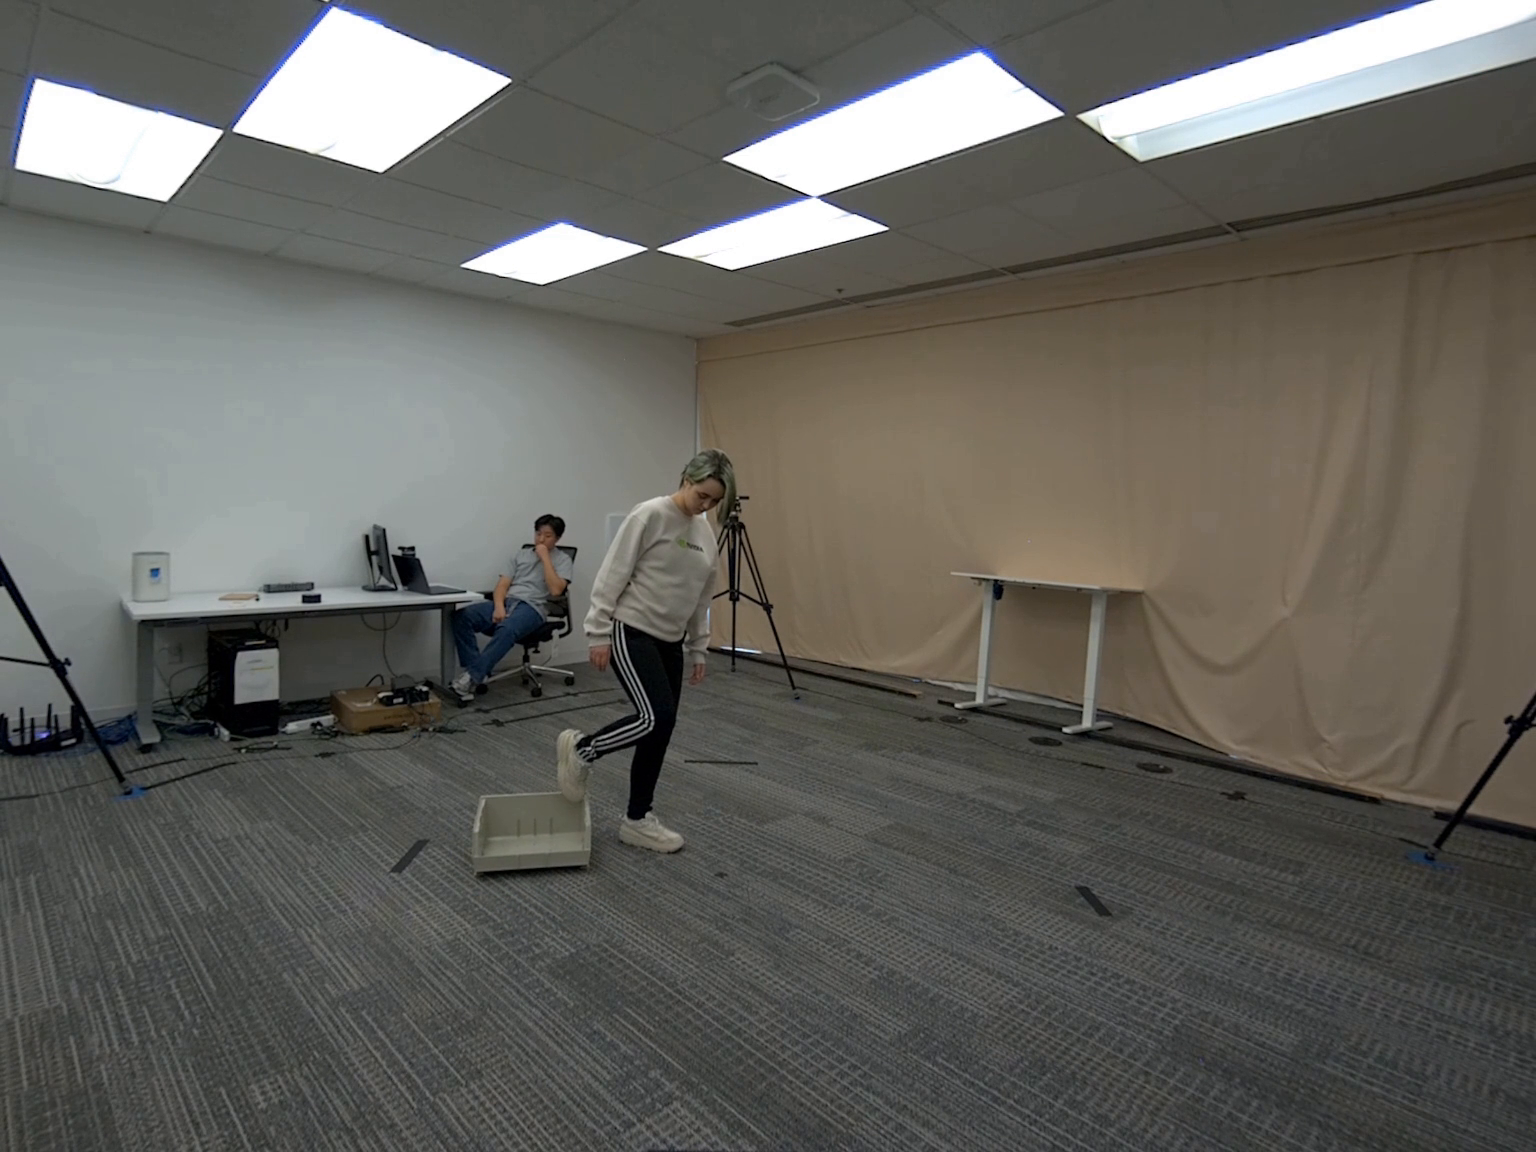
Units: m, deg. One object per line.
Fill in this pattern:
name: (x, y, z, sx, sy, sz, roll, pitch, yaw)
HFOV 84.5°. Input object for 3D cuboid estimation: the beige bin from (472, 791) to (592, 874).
beige bin: (-0.903, 0.986, 3.218, 0.418, 0.188, 0.382, -1, 4, -14)
